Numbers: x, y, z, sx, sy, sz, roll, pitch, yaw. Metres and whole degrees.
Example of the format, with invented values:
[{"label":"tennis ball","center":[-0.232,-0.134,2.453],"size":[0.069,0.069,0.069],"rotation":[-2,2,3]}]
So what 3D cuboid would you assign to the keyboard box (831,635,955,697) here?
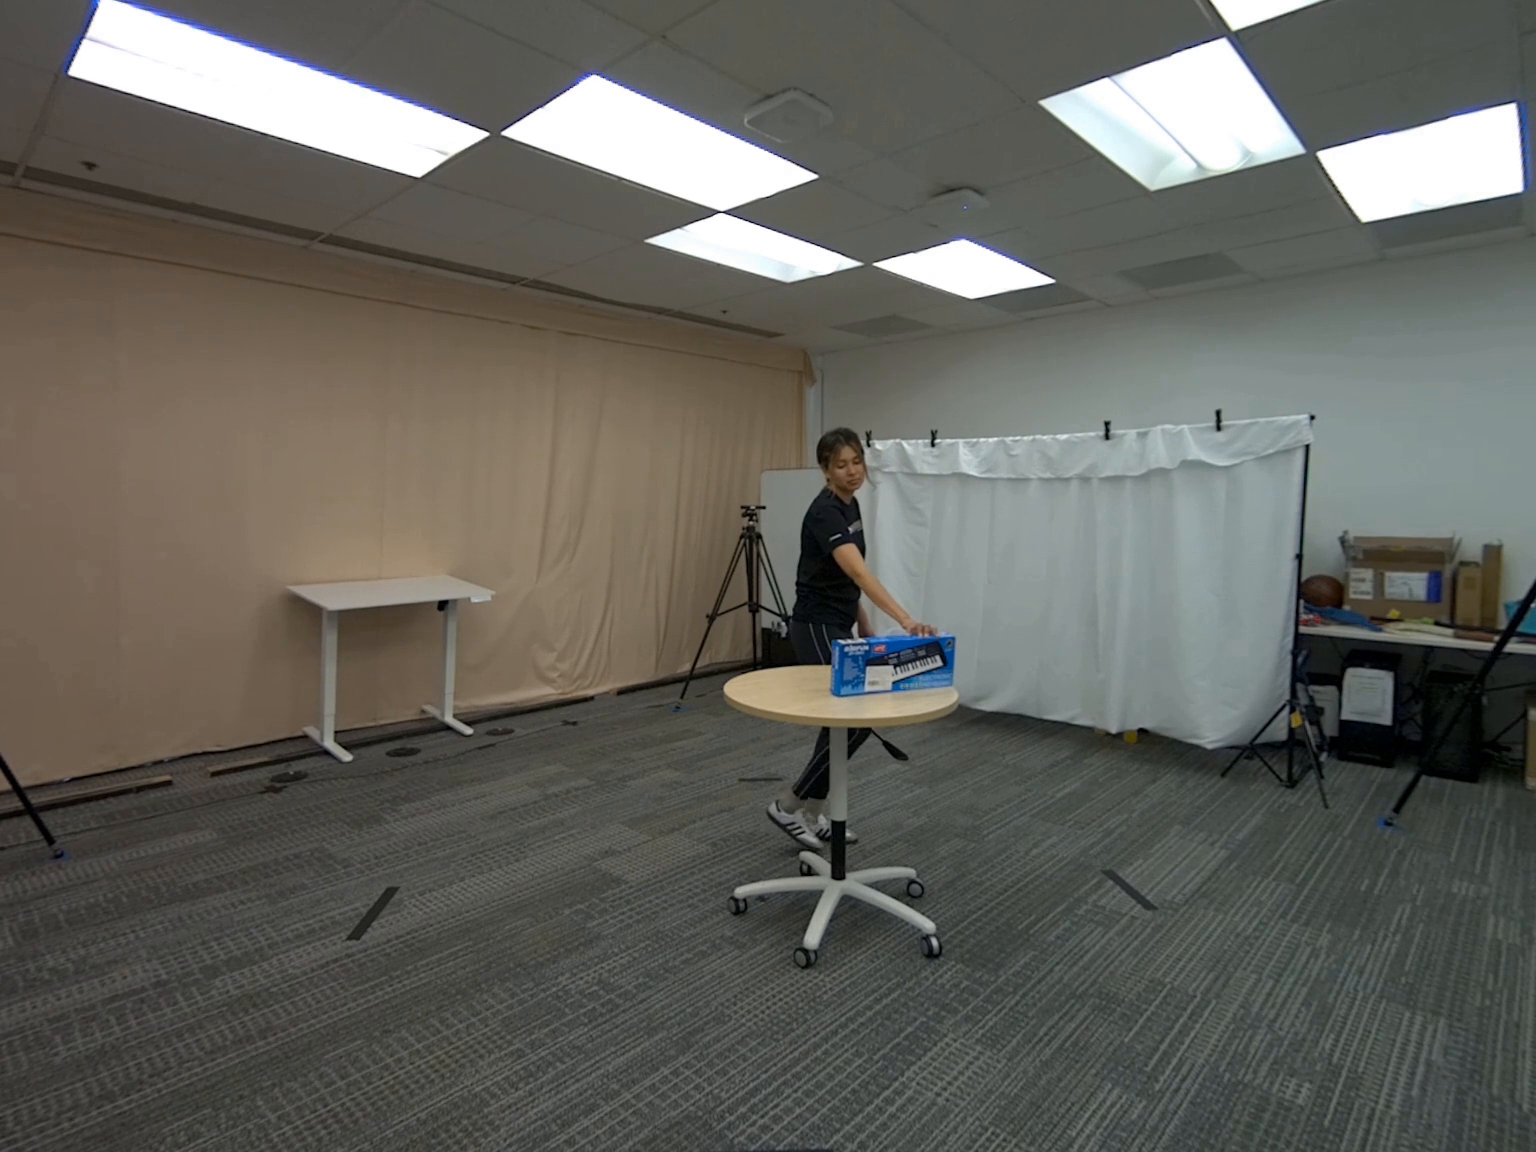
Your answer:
[{"label":"keyboard box","center":[0.411,0.289,2.768],"size":[0.427,0.175,0.060],"rotation":[-2,7,-22]}]
